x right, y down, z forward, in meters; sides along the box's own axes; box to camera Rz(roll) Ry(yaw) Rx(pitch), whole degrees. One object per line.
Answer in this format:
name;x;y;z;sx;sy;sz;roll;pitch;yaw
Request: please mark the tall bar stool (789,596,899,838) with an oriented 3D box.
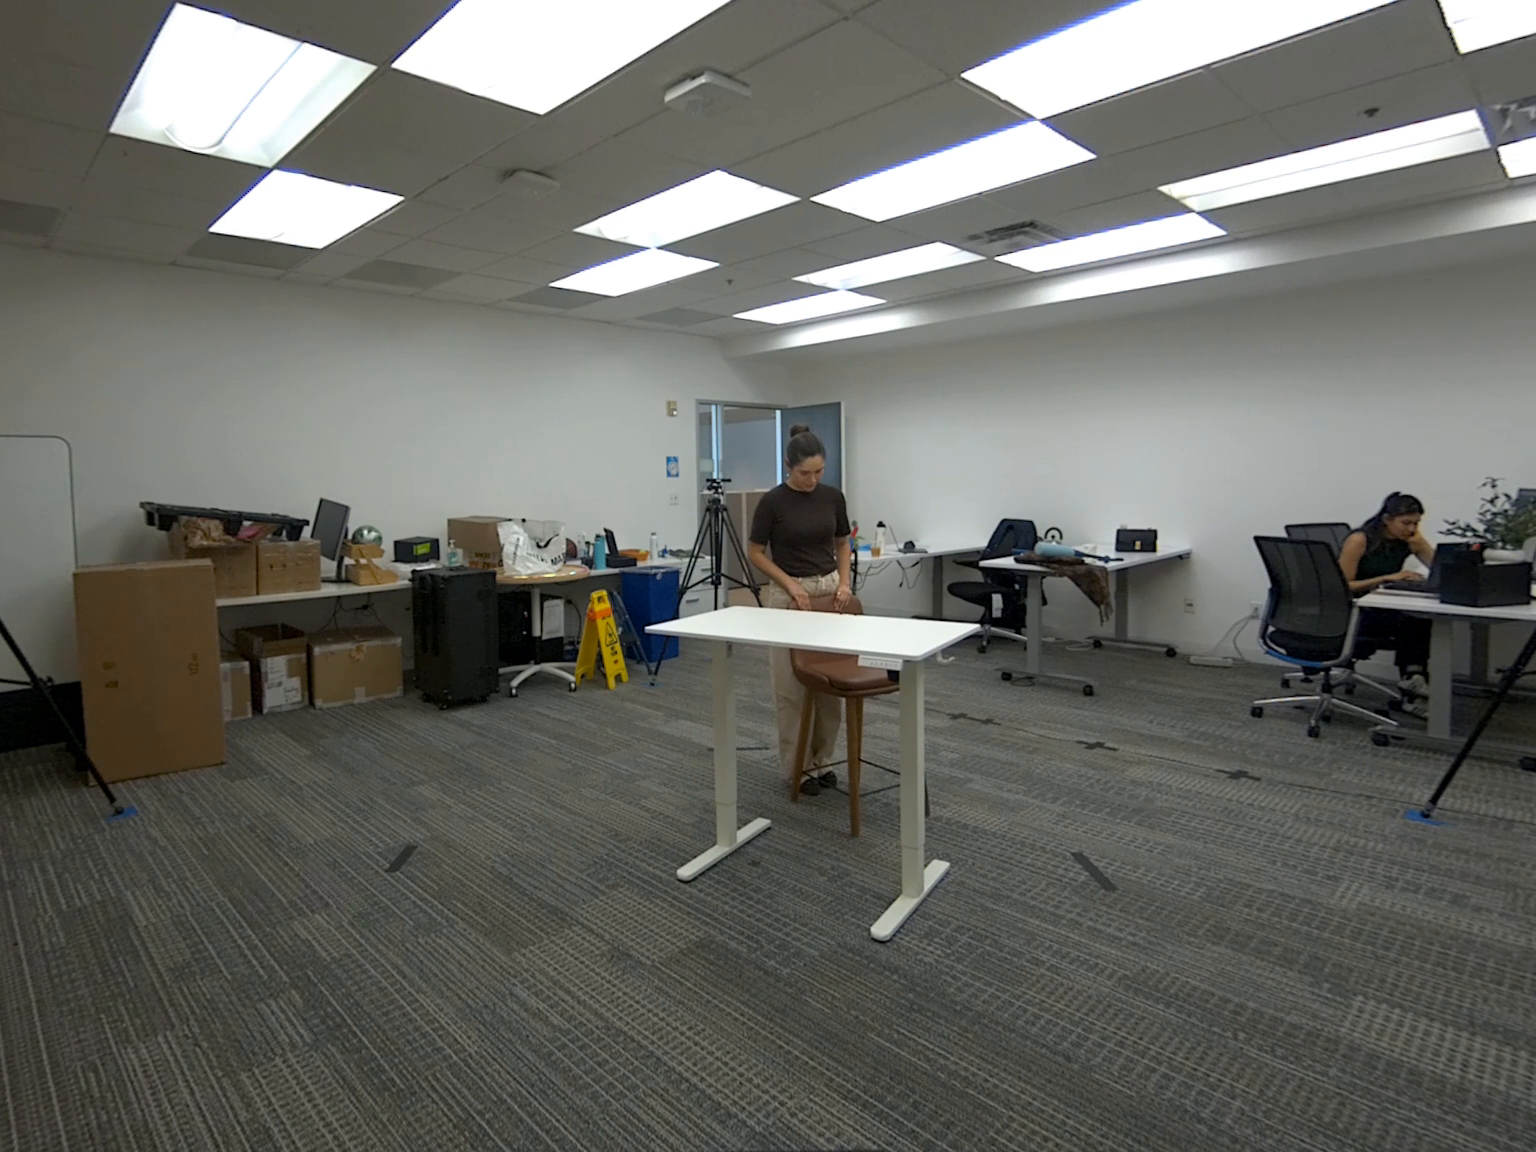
tall bar stool;0.364;0.541;3.580;0.445;0.888;0.480;-3;3;-33
